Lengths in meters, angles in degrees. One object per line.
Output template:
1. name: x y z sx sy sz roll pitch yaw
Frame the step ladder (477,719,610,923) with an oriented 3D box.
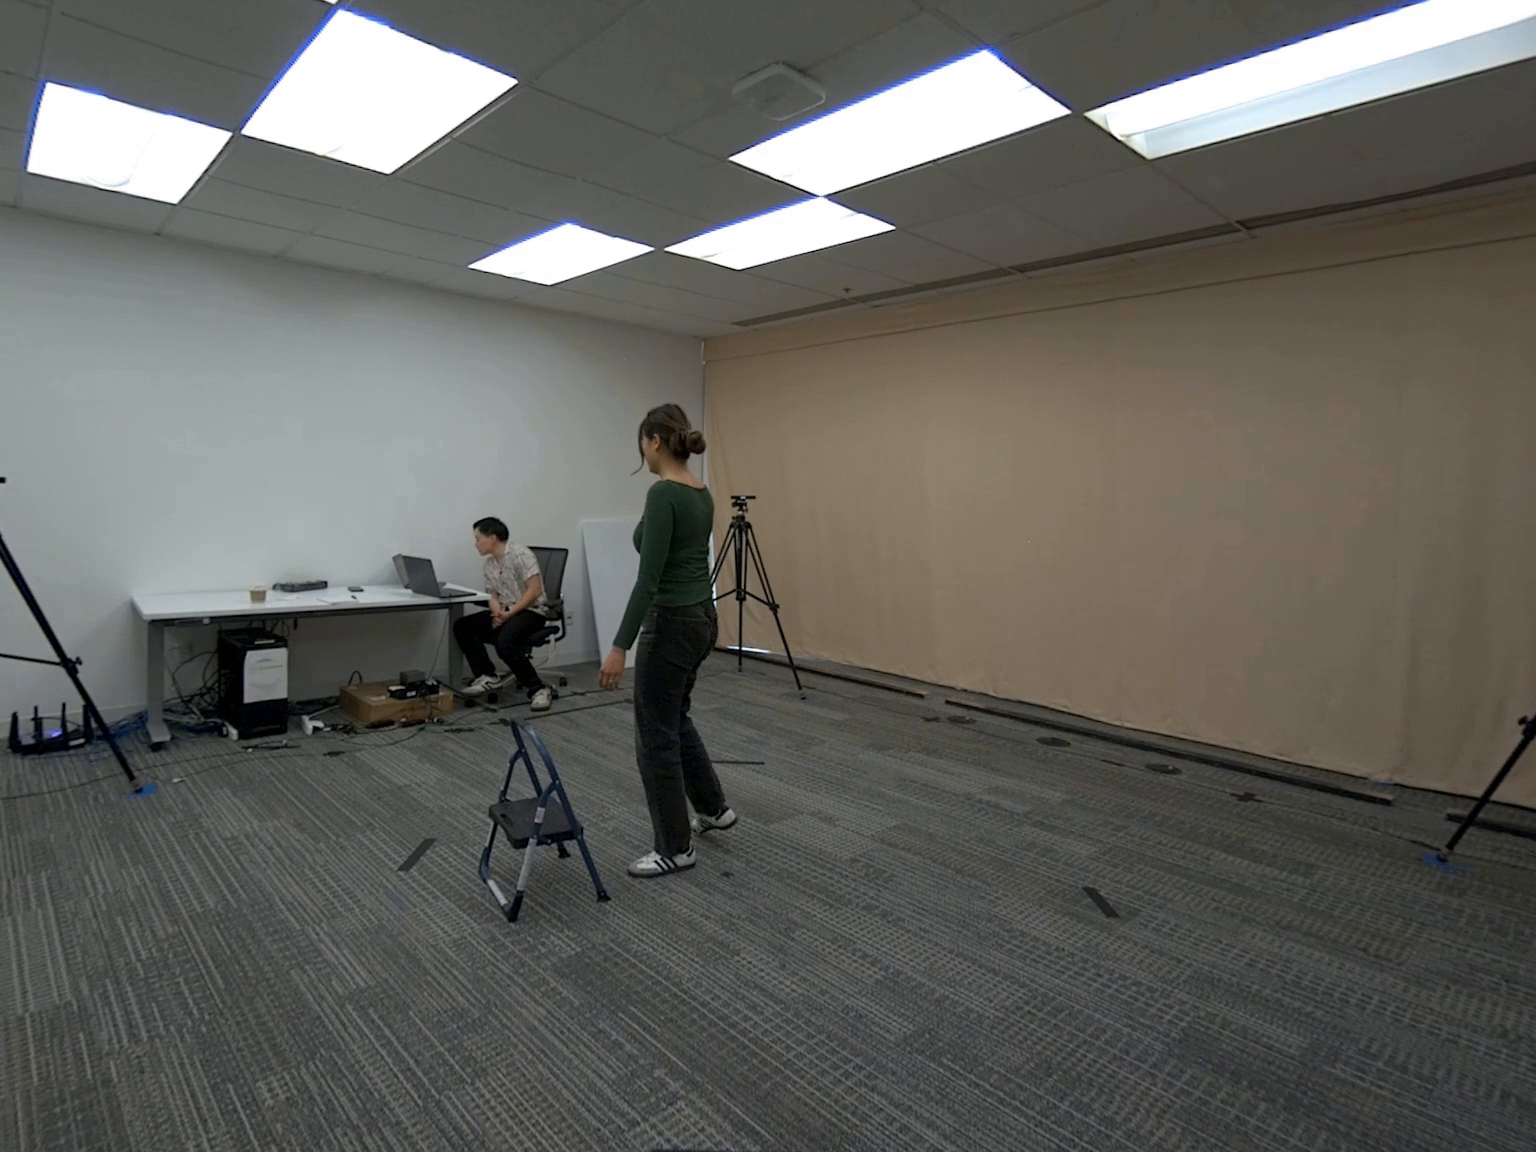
1. step ladder: -0.801 0.800 2.960 0.342 0.604 0.441 -1 4 -33
